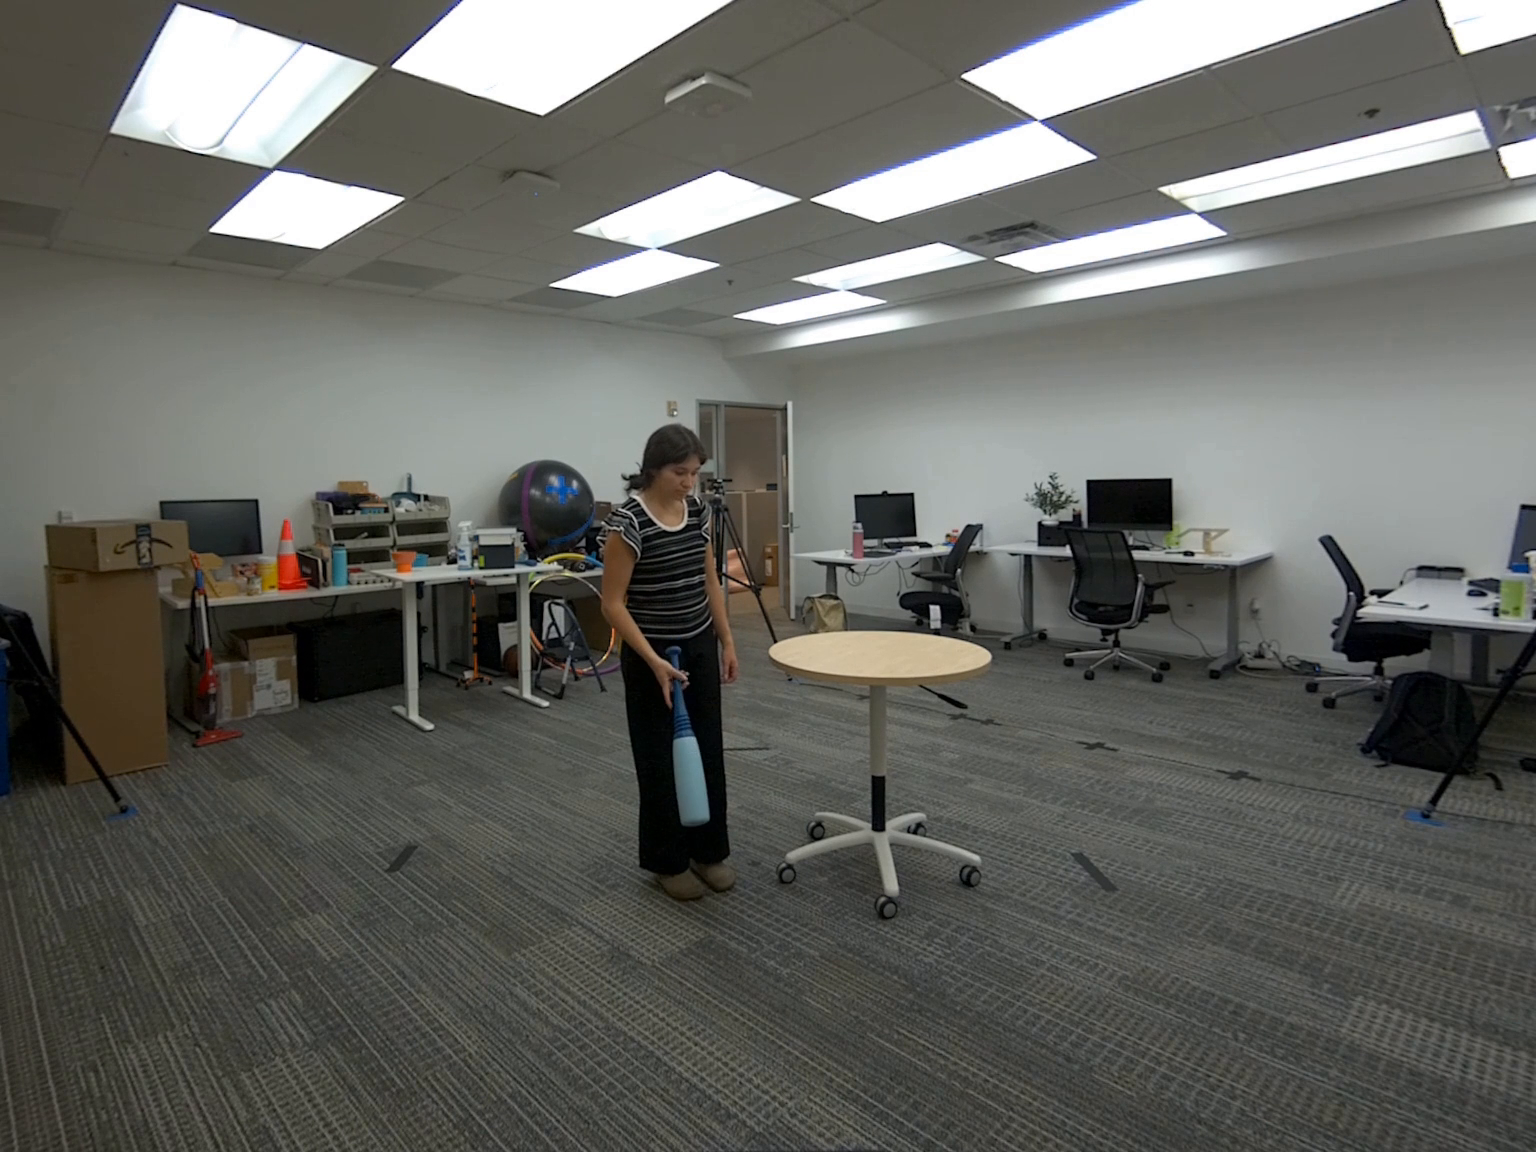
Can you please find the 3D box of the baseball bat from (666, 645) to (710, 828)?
[{"bbox_3d":[-0.255,0.485,2.611,0.089,0.555,0.087,-7,-23,-4],"label":"baseball bat"}]
